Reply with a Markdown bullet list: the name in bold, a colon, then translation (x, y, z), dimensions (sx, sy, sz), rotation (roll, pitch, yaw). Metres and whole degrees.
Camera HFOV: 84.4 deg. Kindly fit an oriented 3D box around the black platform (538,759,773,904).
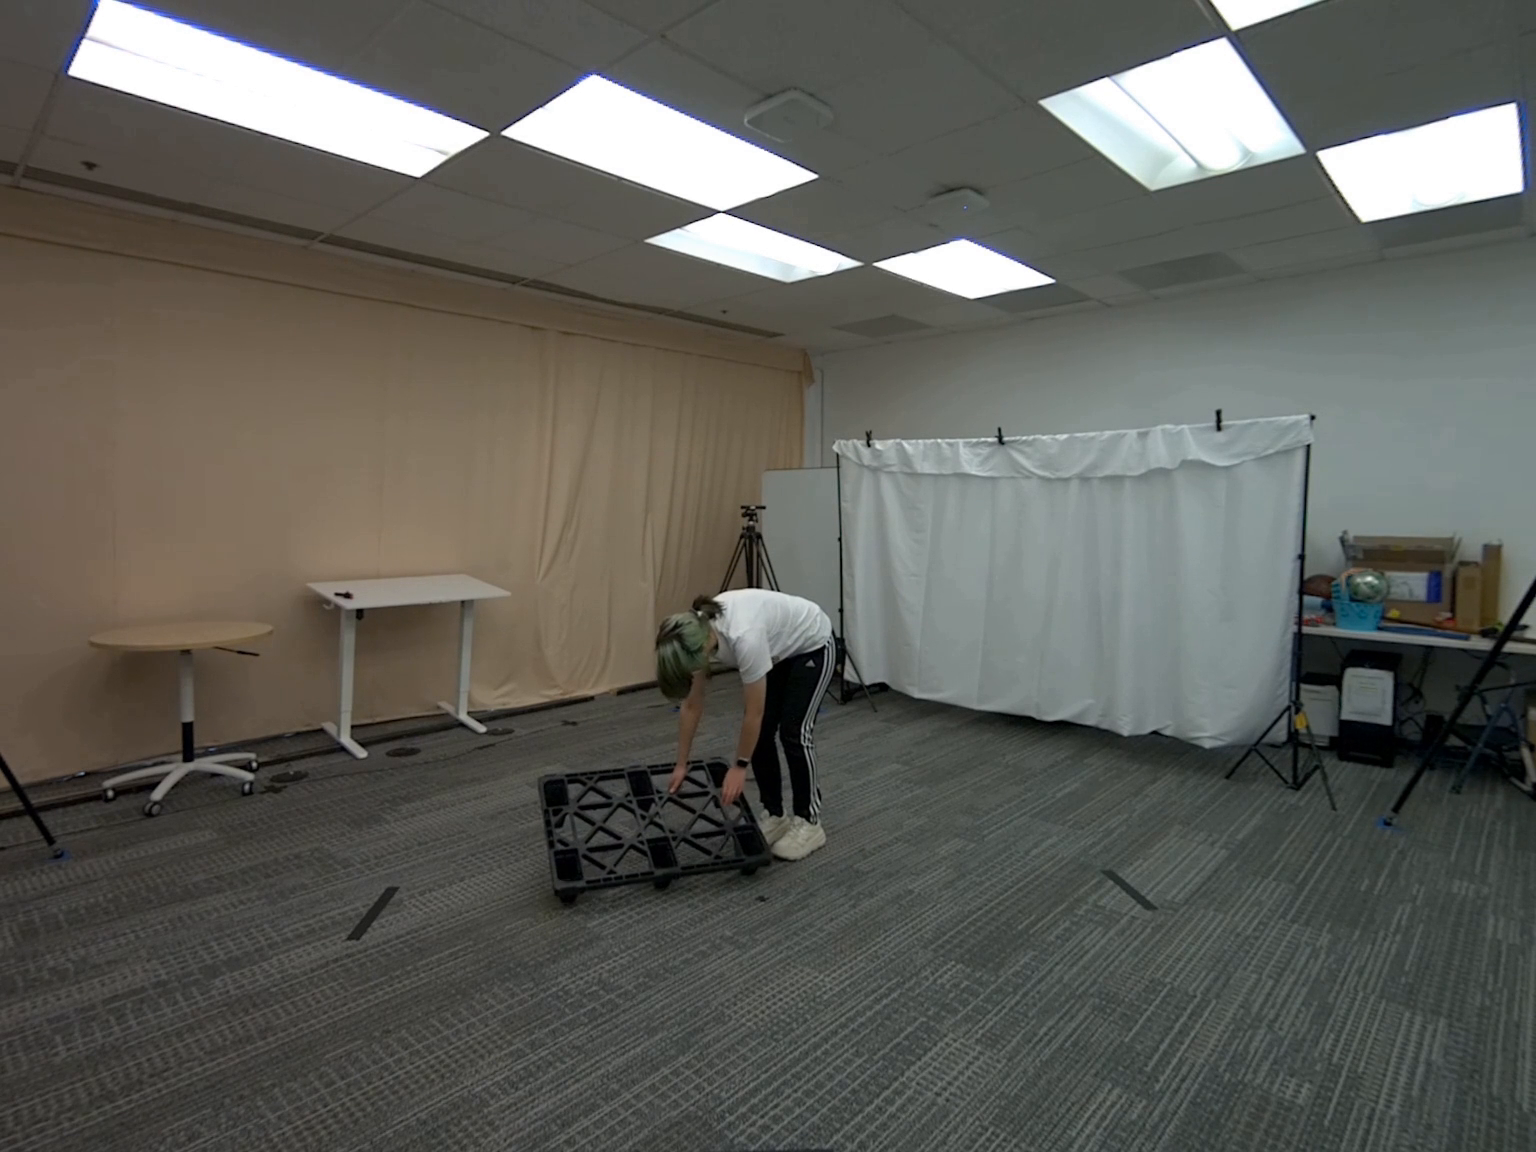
- **black platform**: translation (-0.465, 0.978, 3.254), dimensions (0.791, 0.142, 0.623), rotation (-2, 26, -19)
